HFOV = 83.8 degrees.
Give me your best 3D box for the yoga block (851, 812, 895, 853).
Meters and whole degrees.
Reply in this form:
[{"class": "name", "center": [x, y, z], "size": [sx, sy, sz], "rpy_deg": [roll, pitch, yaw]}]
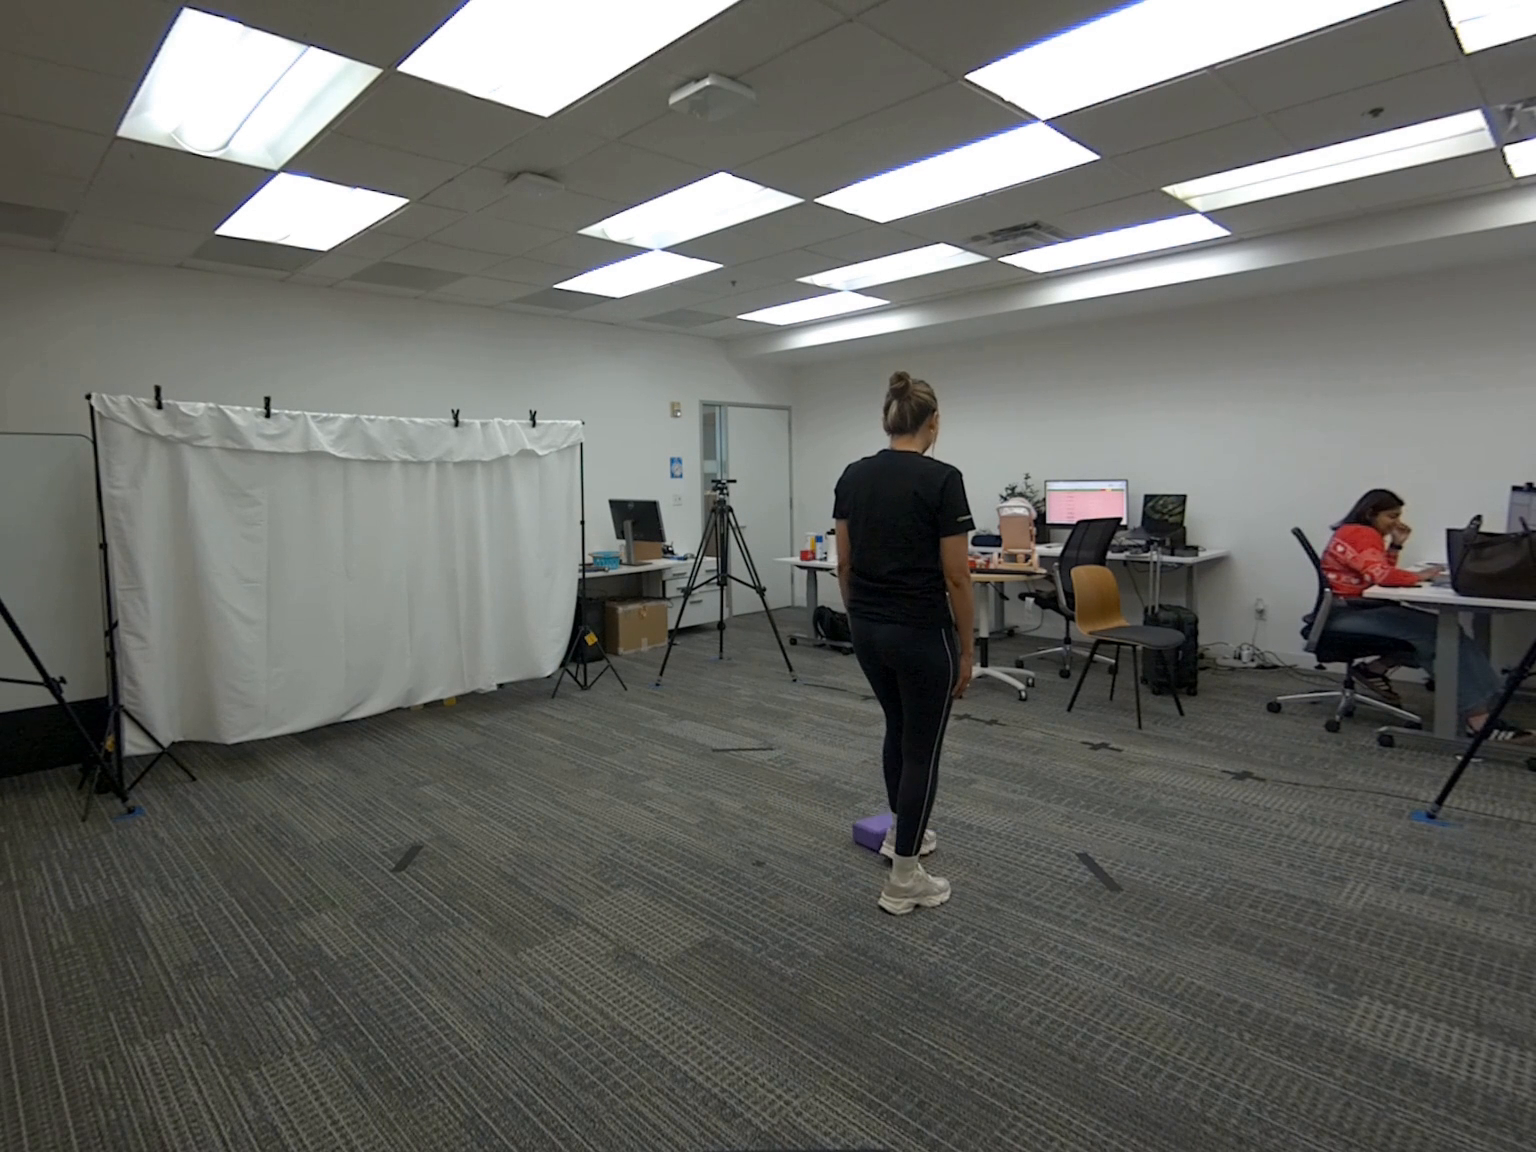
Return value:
[{"class": "yoga block", "center": [0.454, 0.976, 3.277], "size": [0.224, 0.076, 0.153], "rpy_deg": [-6, 5, -35]}]
